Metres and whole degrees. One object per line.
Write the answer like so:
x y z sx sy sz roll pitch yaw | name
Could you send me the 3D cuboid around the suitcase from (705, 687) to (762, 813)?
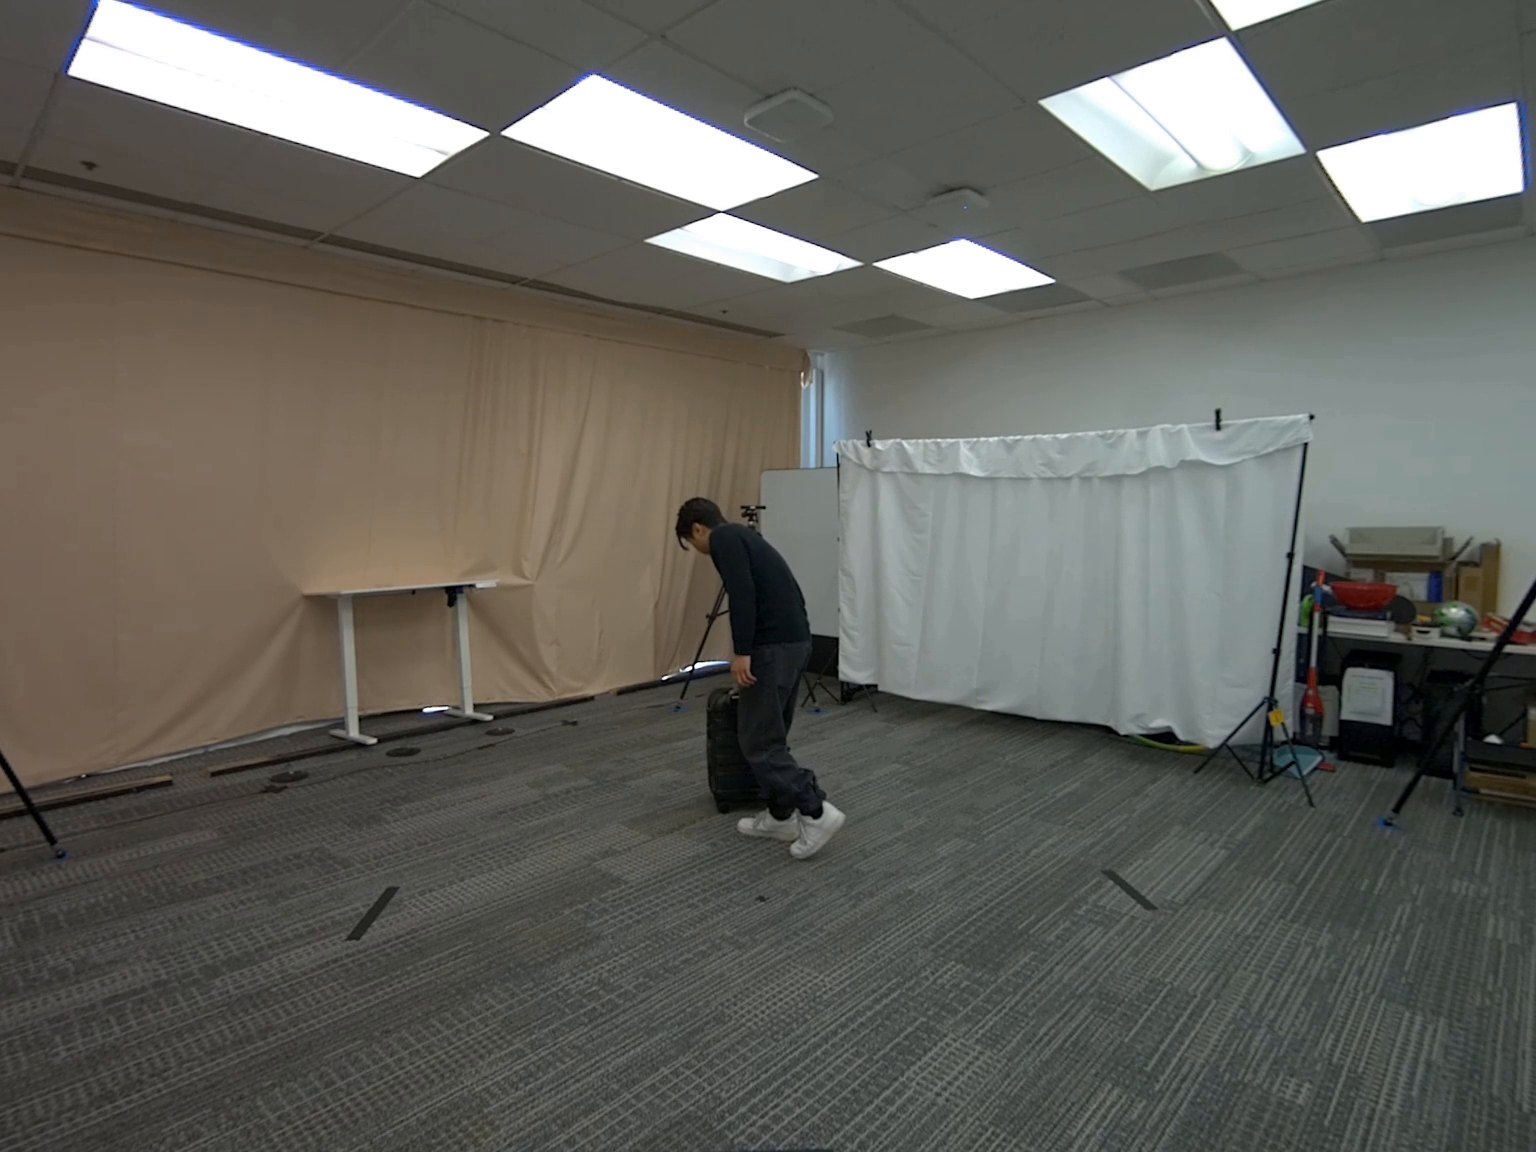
-0.103 0.790 3.938 0.372 0.548 0.251 -2 3 -8 | suitcase
